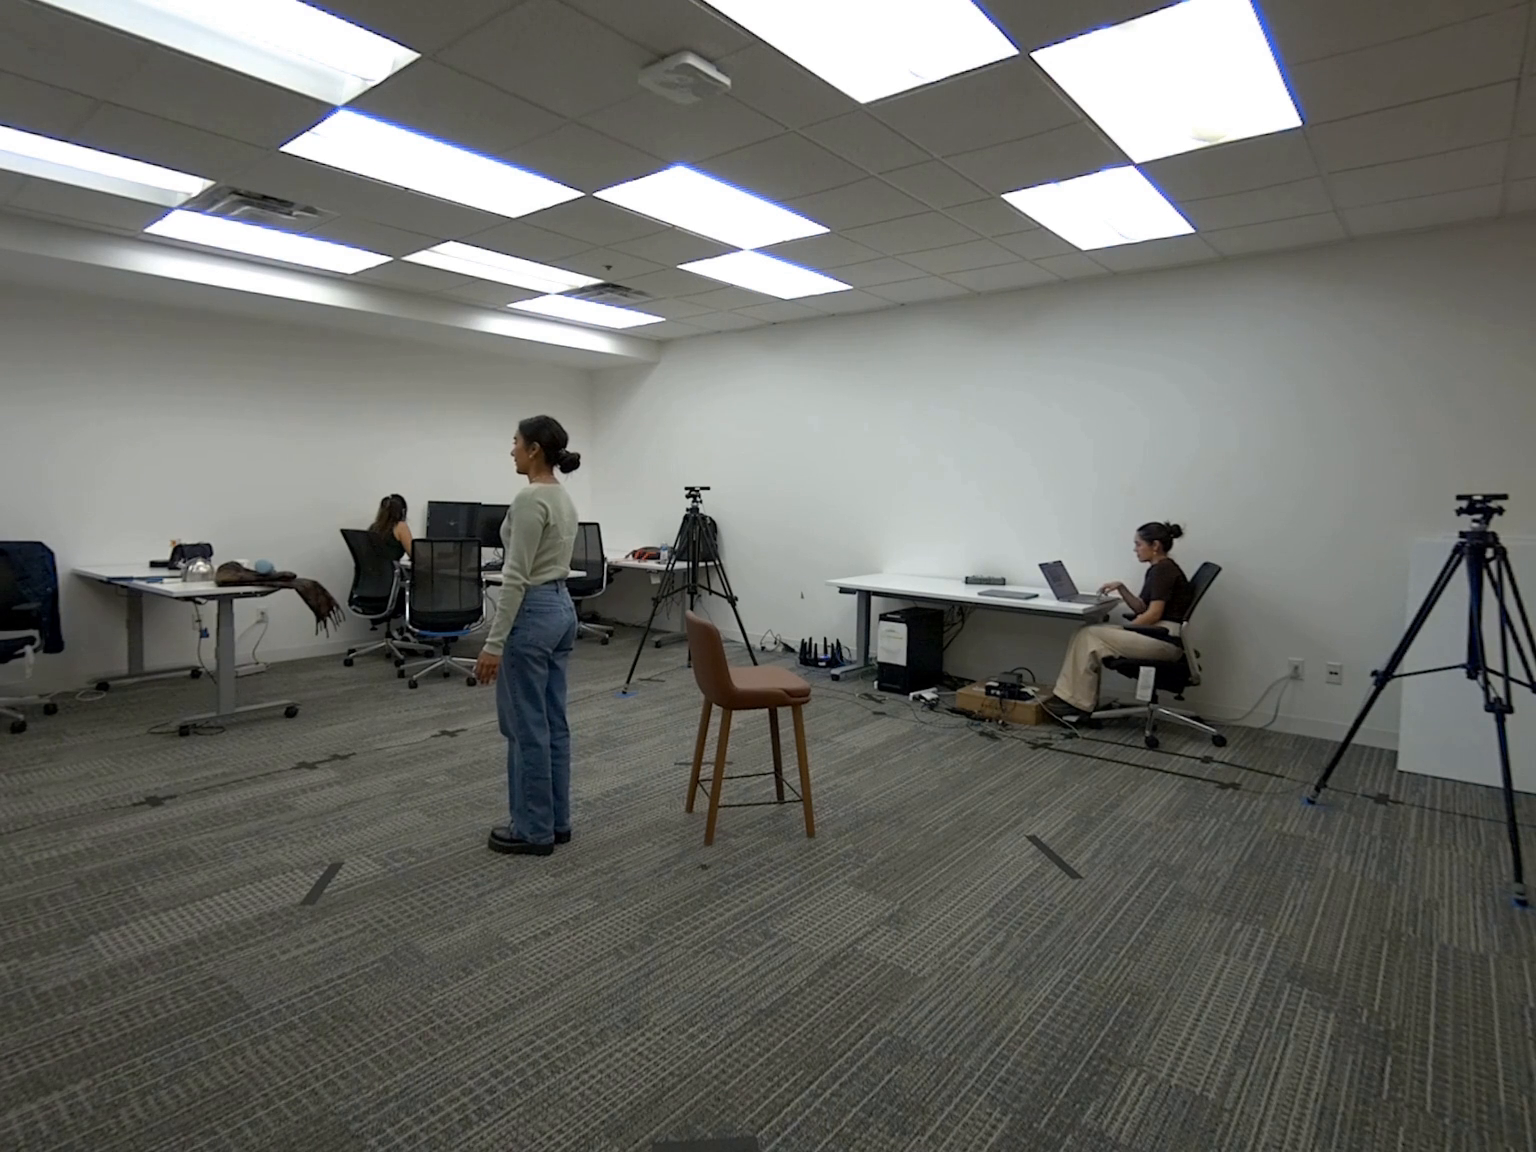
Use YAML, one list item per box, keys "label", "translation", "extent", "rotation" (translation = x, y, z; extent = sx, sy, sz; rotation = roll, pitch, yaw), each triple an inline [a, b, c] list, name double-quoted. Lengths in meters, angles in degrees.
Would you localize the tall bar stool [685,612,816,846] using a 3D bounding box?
- label: "tall bar stool"
  translation: [-0.095, 0.592, 3.513]
  extent: [0.460, 0.887, 0.466]
  rotation: [-2, 4, -17]
